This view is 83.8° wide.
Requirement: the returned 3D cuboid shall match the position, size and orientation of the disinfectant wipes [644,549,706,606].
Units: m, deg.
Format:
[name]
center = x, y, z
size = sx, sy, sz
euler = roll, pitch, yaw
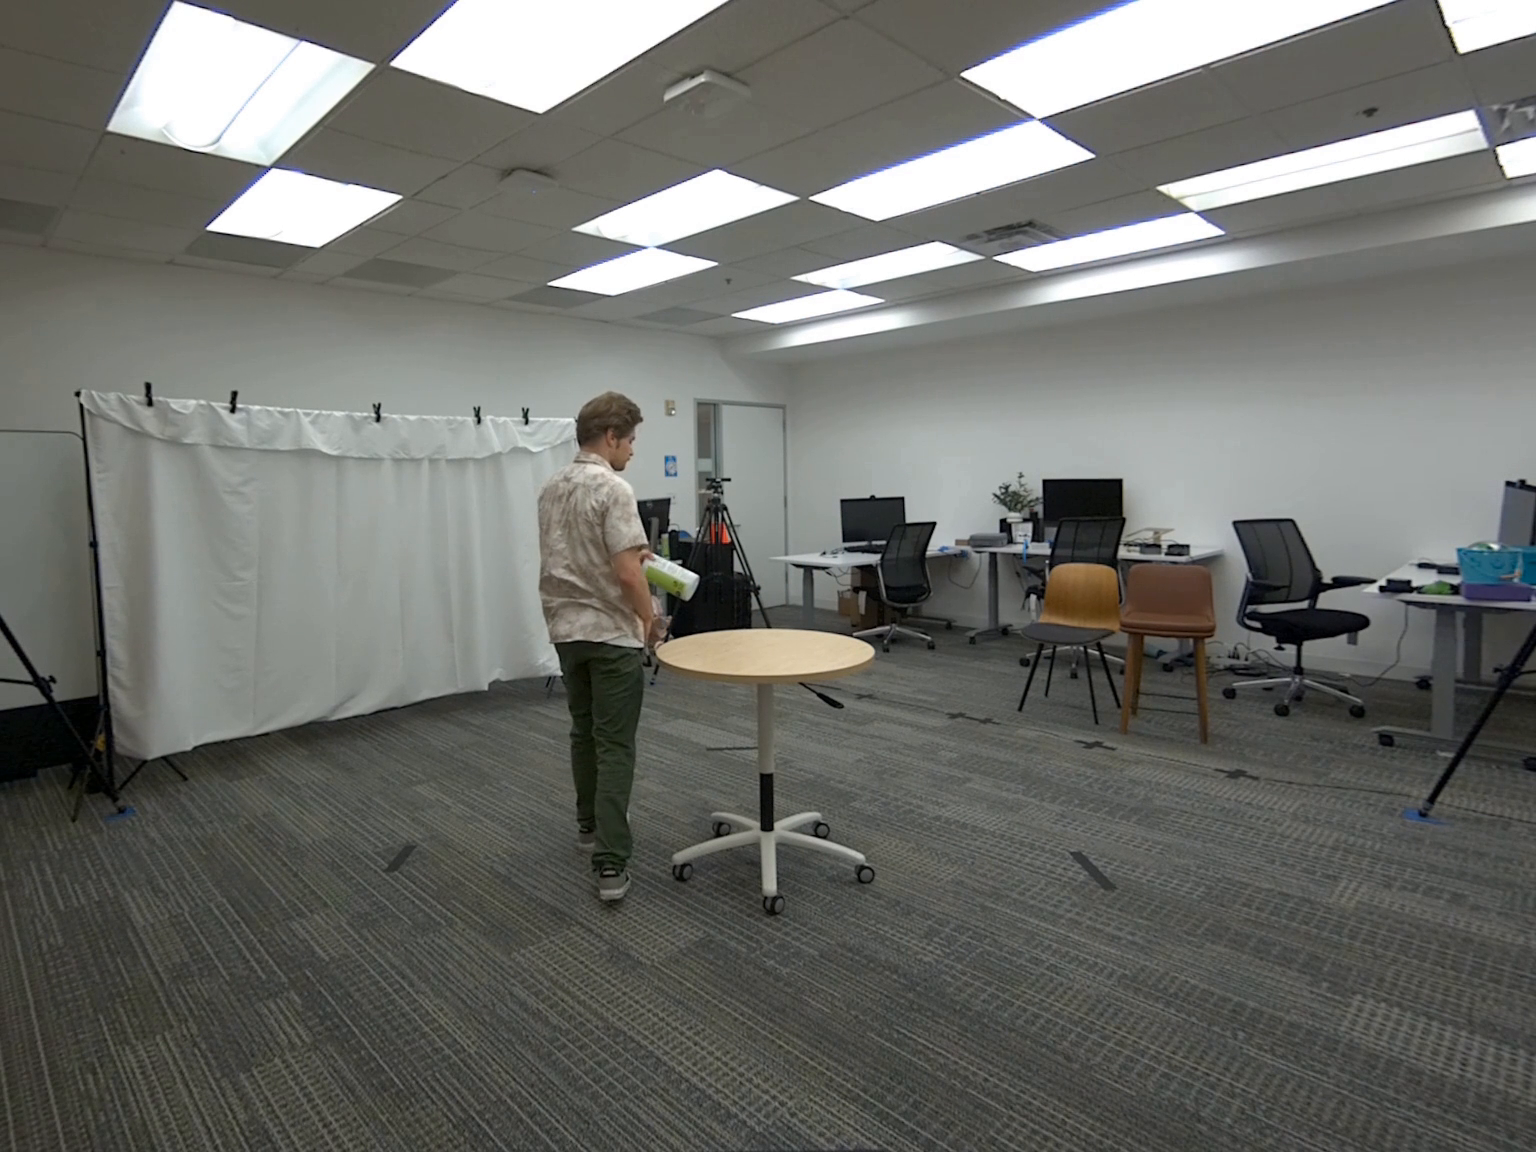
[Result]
[disinfectant wipes]
center = -0.379, 0.001, 3.334
size = 0.220, 0.117, 0.116
euler = 29, 10, 10
